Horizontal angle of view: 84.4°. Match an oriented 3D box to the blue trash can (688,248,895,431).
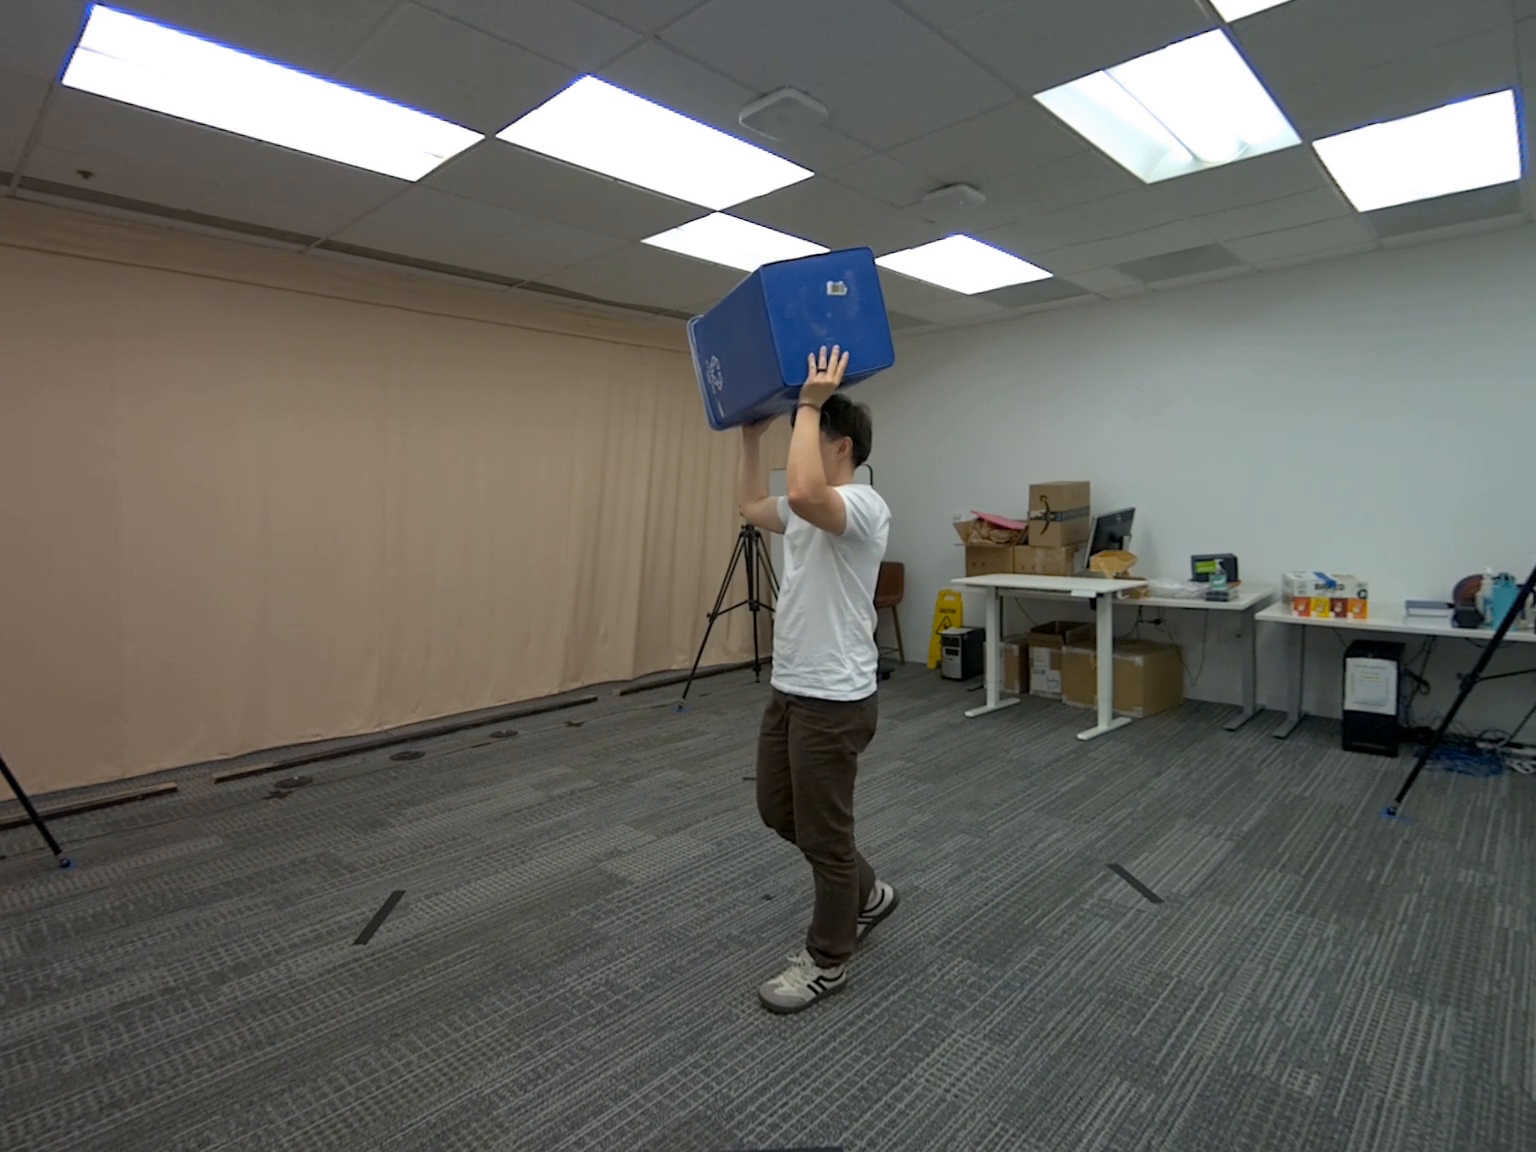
[{"bbox_3d":[0.048,-0.664,2.401,0.370,0.376,0.726,-14,7,-14],"label":"blue trash can"}]
